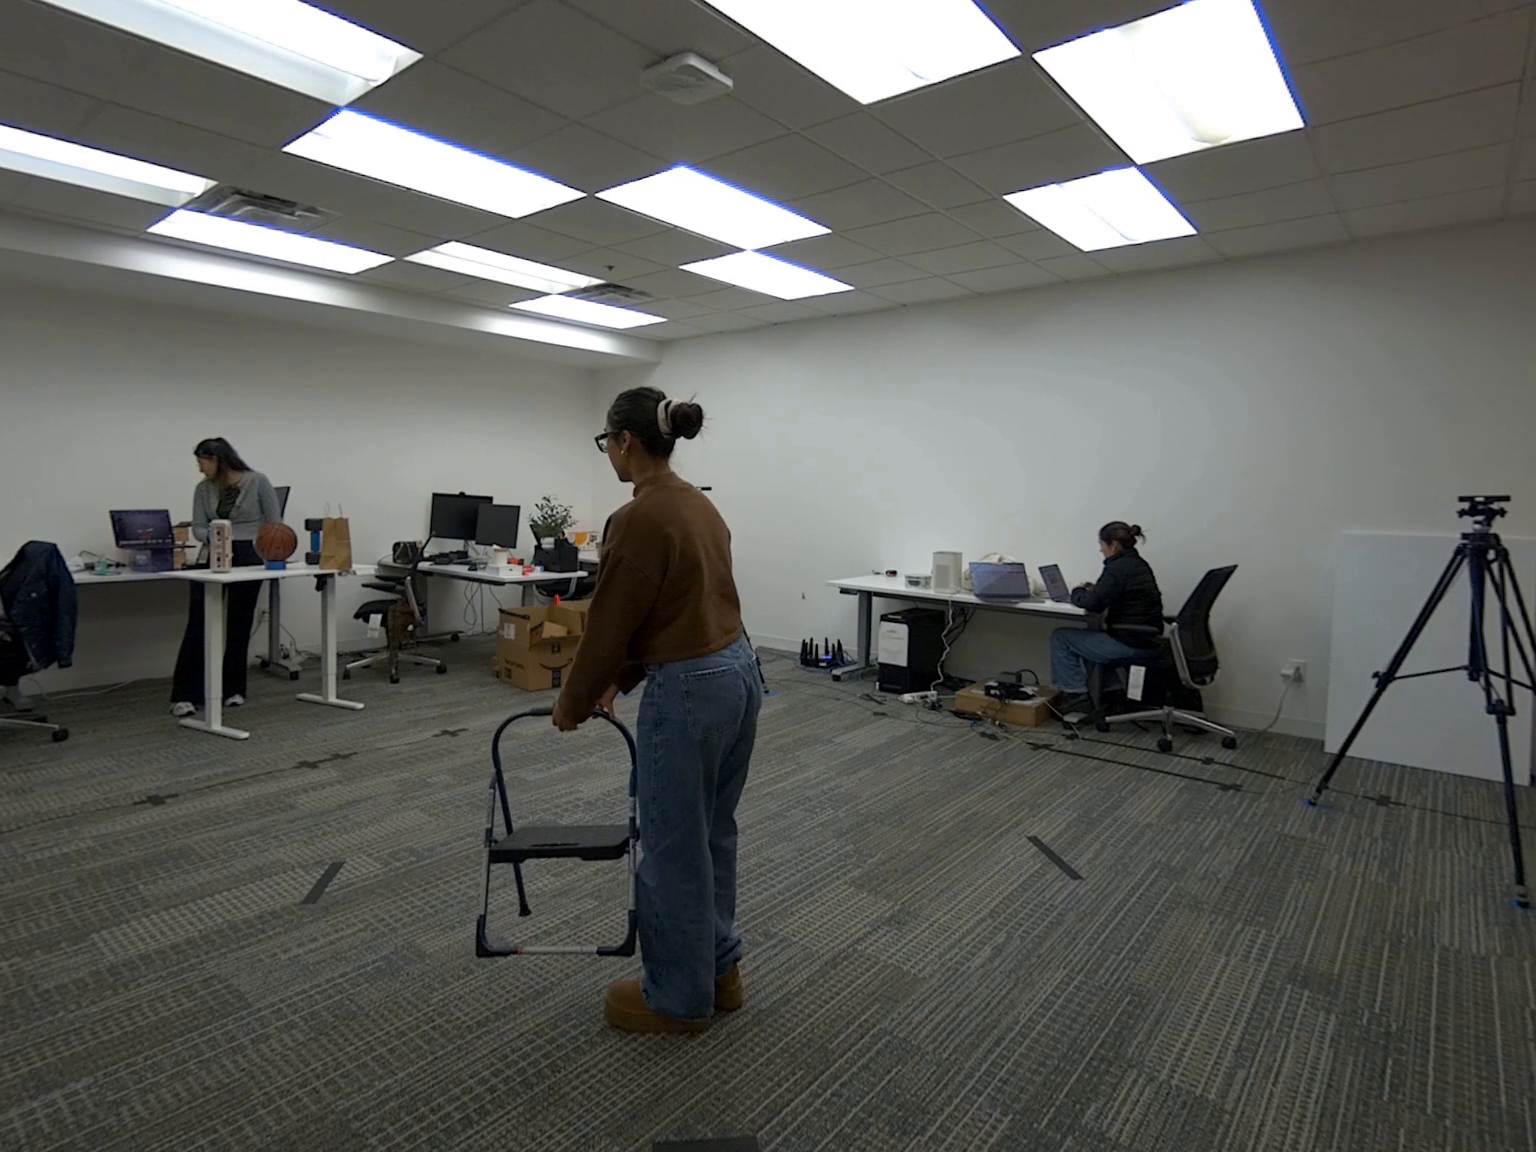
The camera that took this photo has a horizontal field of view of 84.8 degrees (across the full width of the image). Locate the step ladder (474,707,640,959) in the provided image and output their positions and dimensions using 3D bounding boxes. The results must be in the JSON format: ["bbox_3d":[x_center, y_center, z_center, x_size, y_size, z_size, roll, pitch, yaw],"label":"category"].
[{"bbox_3d":[-0.556,0.668,2.304,0.434,0.611,0.344,-4,-7,7],"label":"step ladder"}]
